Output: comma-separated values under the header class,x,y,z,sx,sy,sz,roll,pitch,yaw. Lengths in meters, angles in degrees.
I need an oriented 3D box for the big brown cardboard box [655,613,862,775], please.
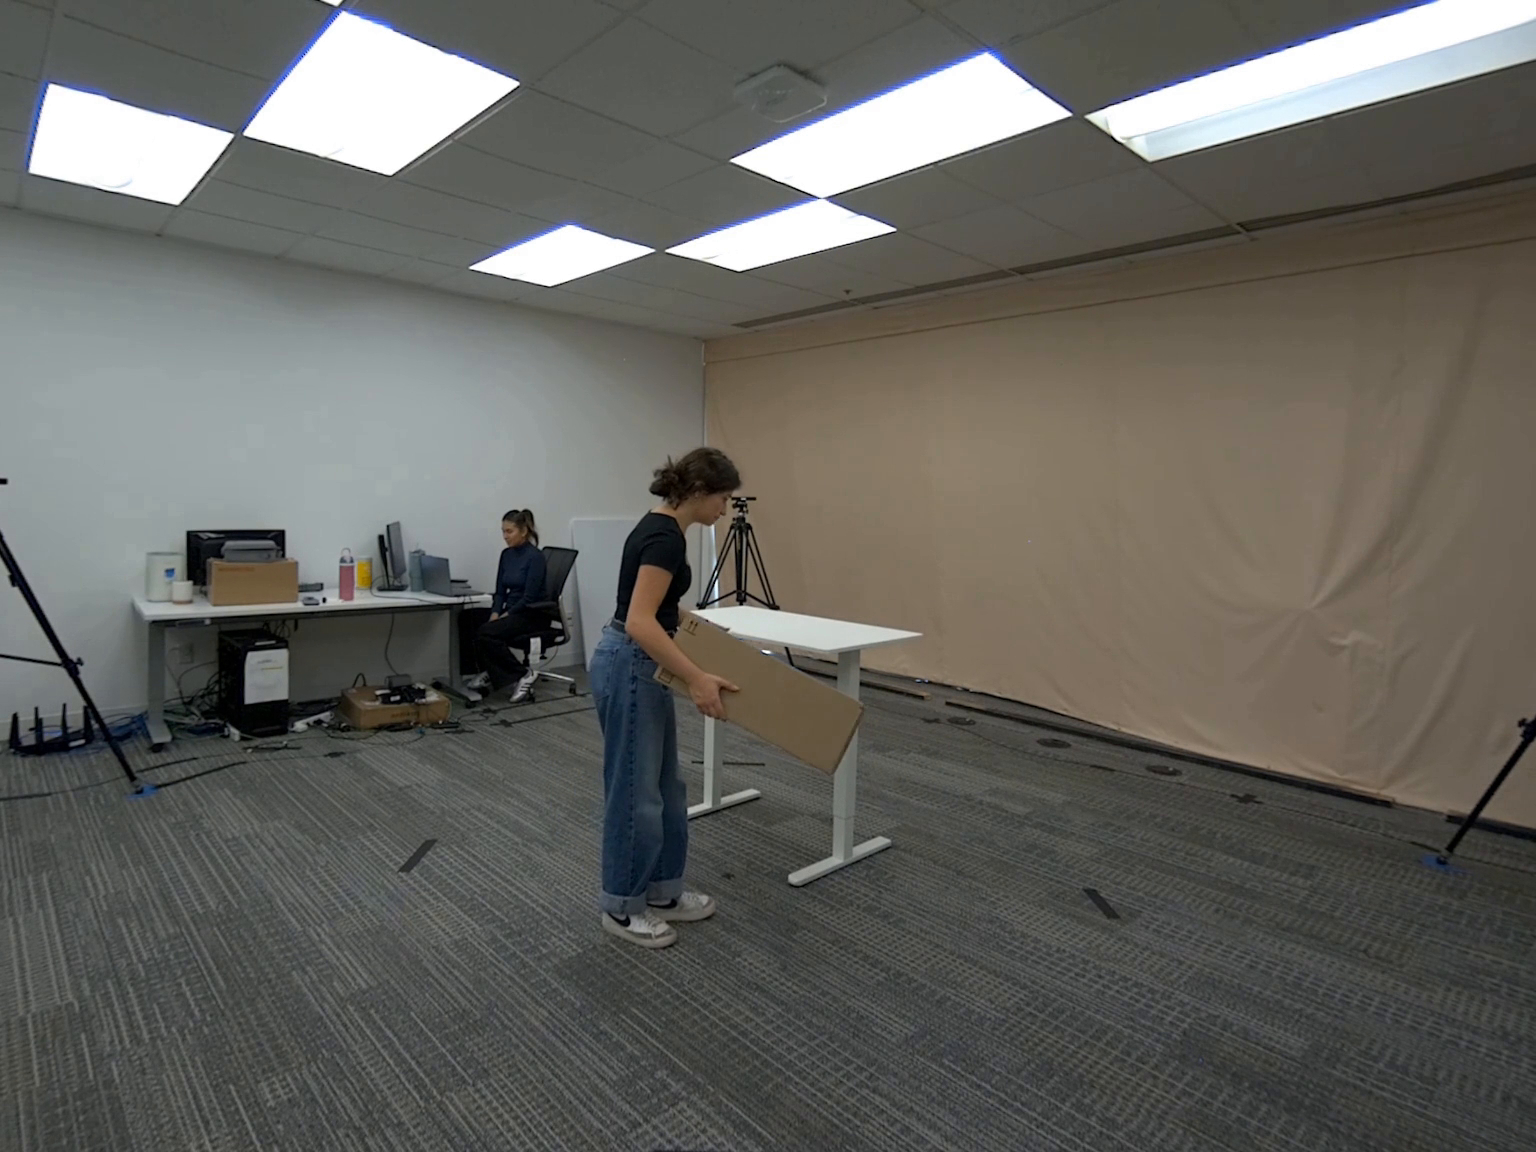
class,x,y,z,sx,sy,sz,roll,pitch,yaw
big brown cardboard box,-0.017,0.359,2.548,0.597,0.233,0.411,28,-6,12
